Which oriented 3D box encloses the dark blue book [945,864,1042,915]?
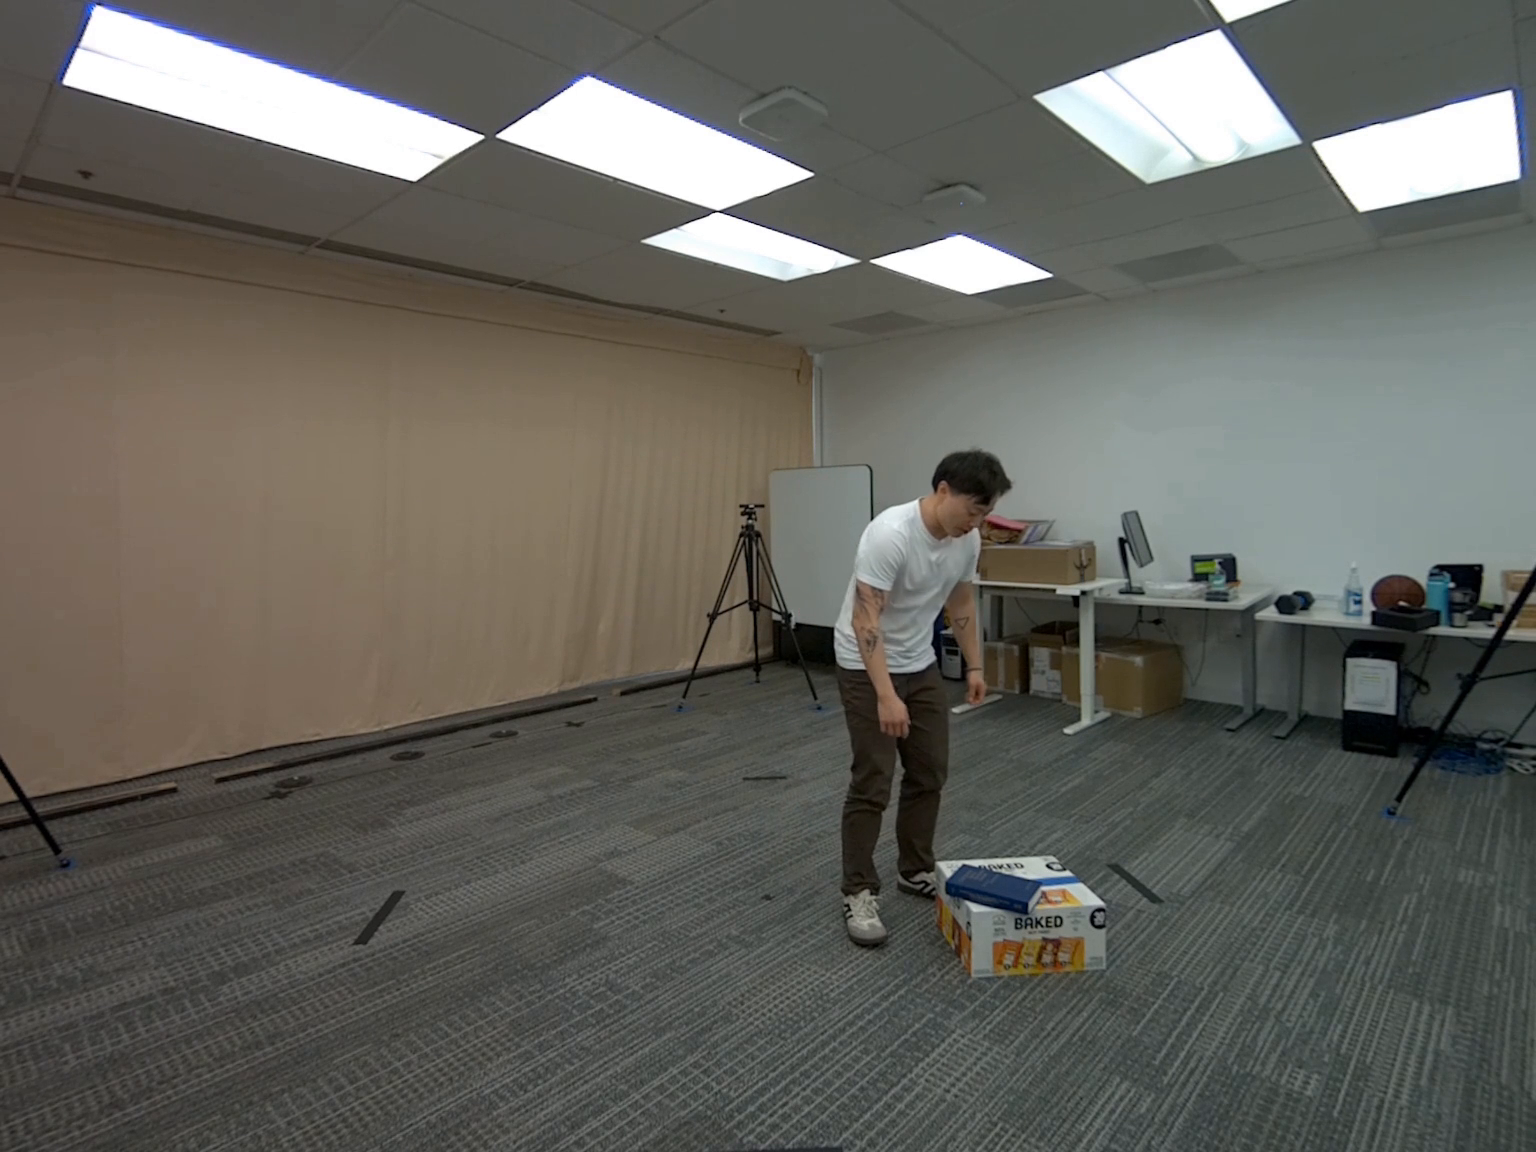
[{"bbox_3d":[0.690,0.944,2.541,0.252,0.045,0.159,2,5,33],"label":"dark blue book"}]
